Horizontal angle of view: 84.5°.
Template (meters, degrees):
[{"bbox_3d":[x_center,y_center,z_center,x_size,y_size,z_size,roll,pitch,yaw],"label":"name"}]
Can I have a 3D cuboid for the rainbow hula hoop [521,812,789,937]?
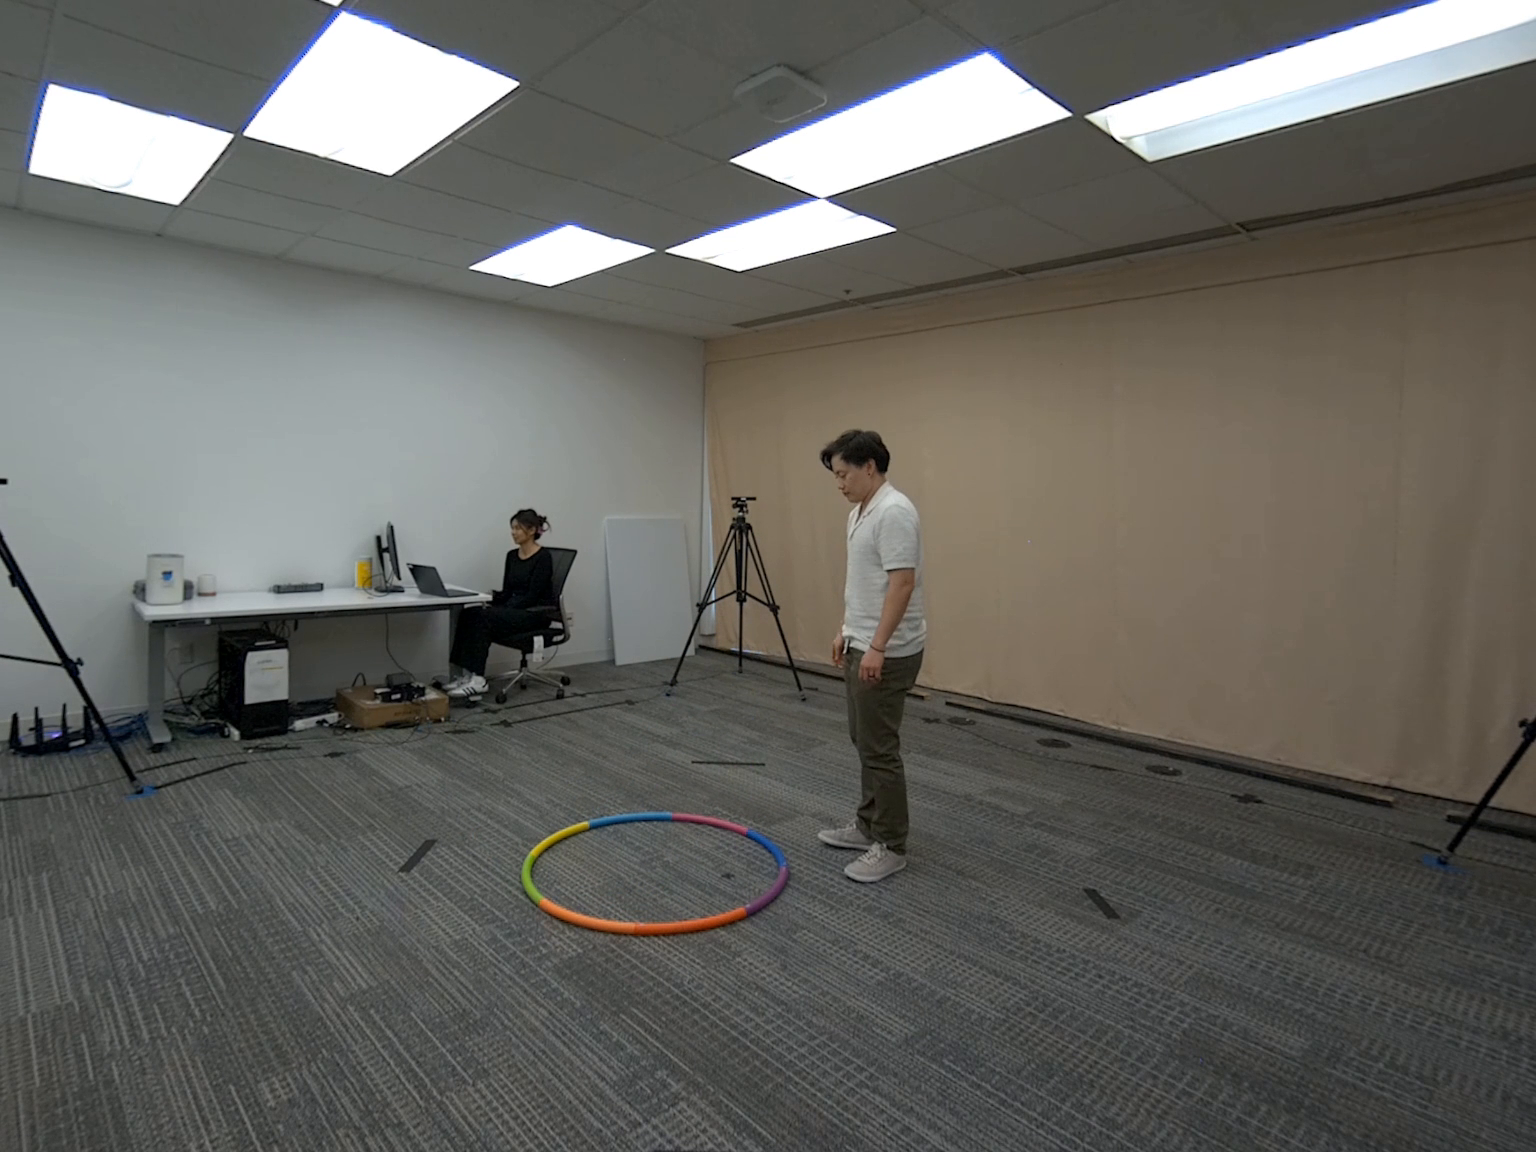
[{"bbox_3d":[-0.419,1.066,3.149,0.978,0.035,0.982,2,5,-1],"label":"rainbow hula hoop"}]
